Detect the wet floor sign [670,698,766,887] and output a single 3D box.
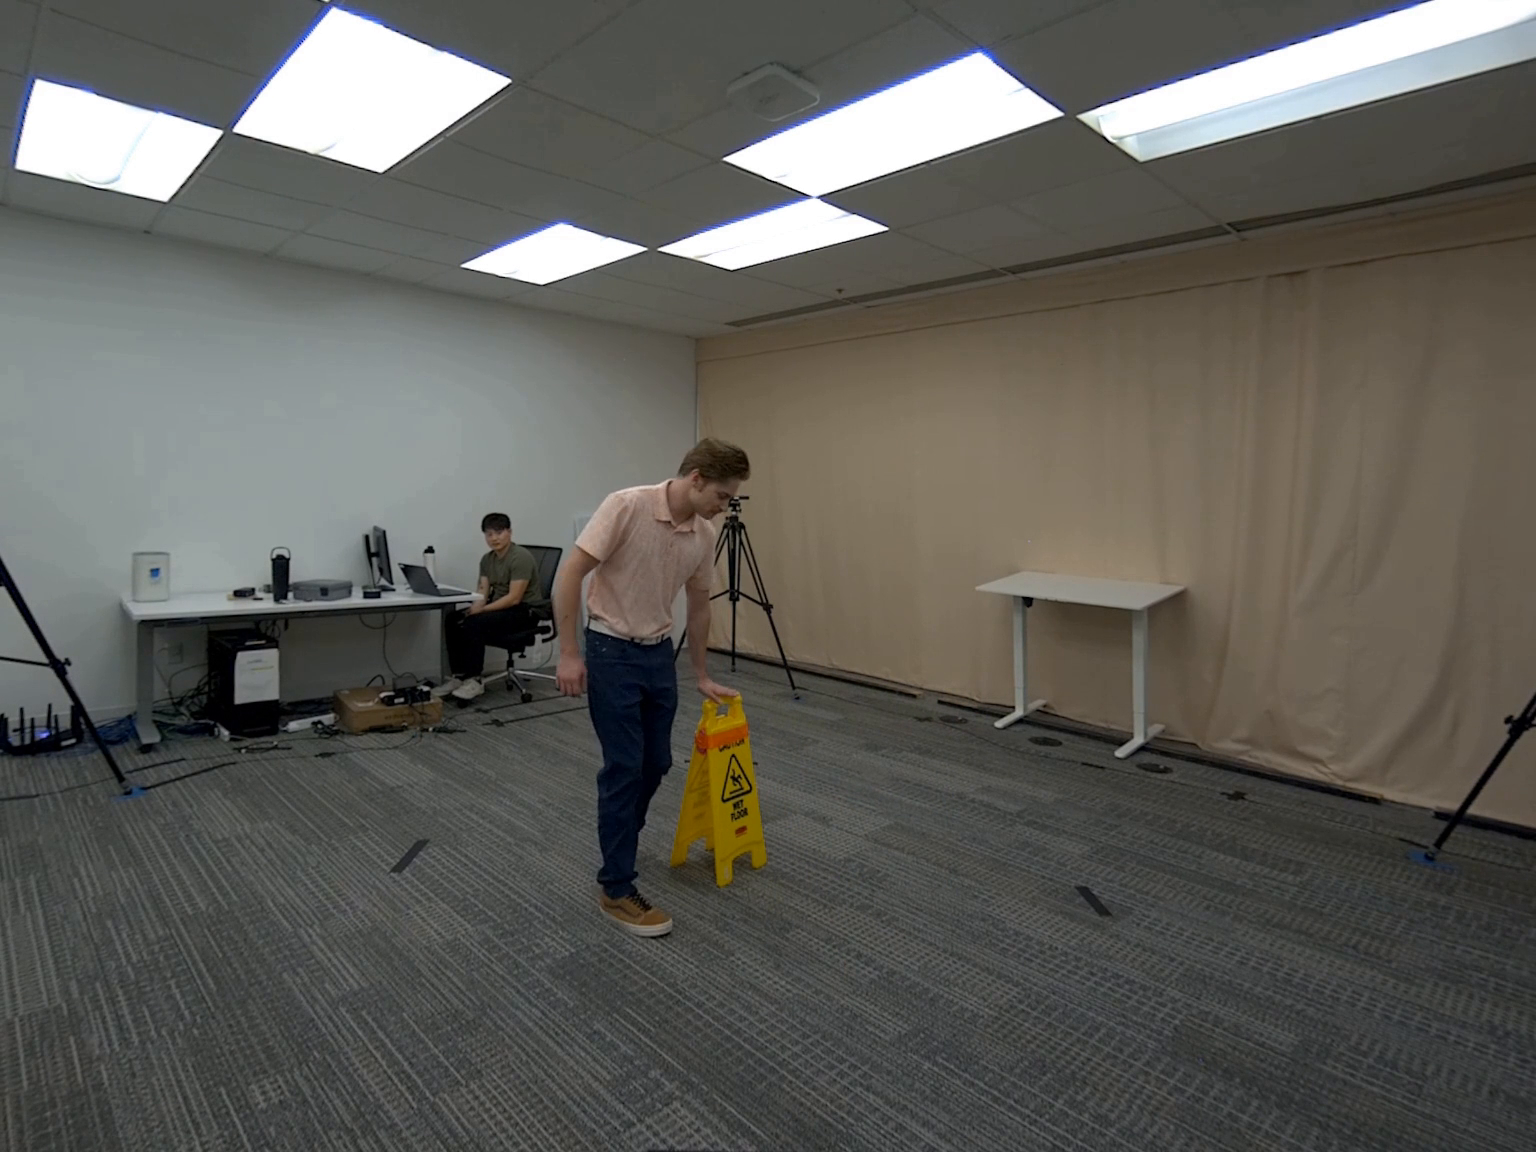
[{"bbox_3d":[-0.181,0.771,3.165,0.297,0.644,0.276,5,5,38],"label":"wet floor sign"}]
